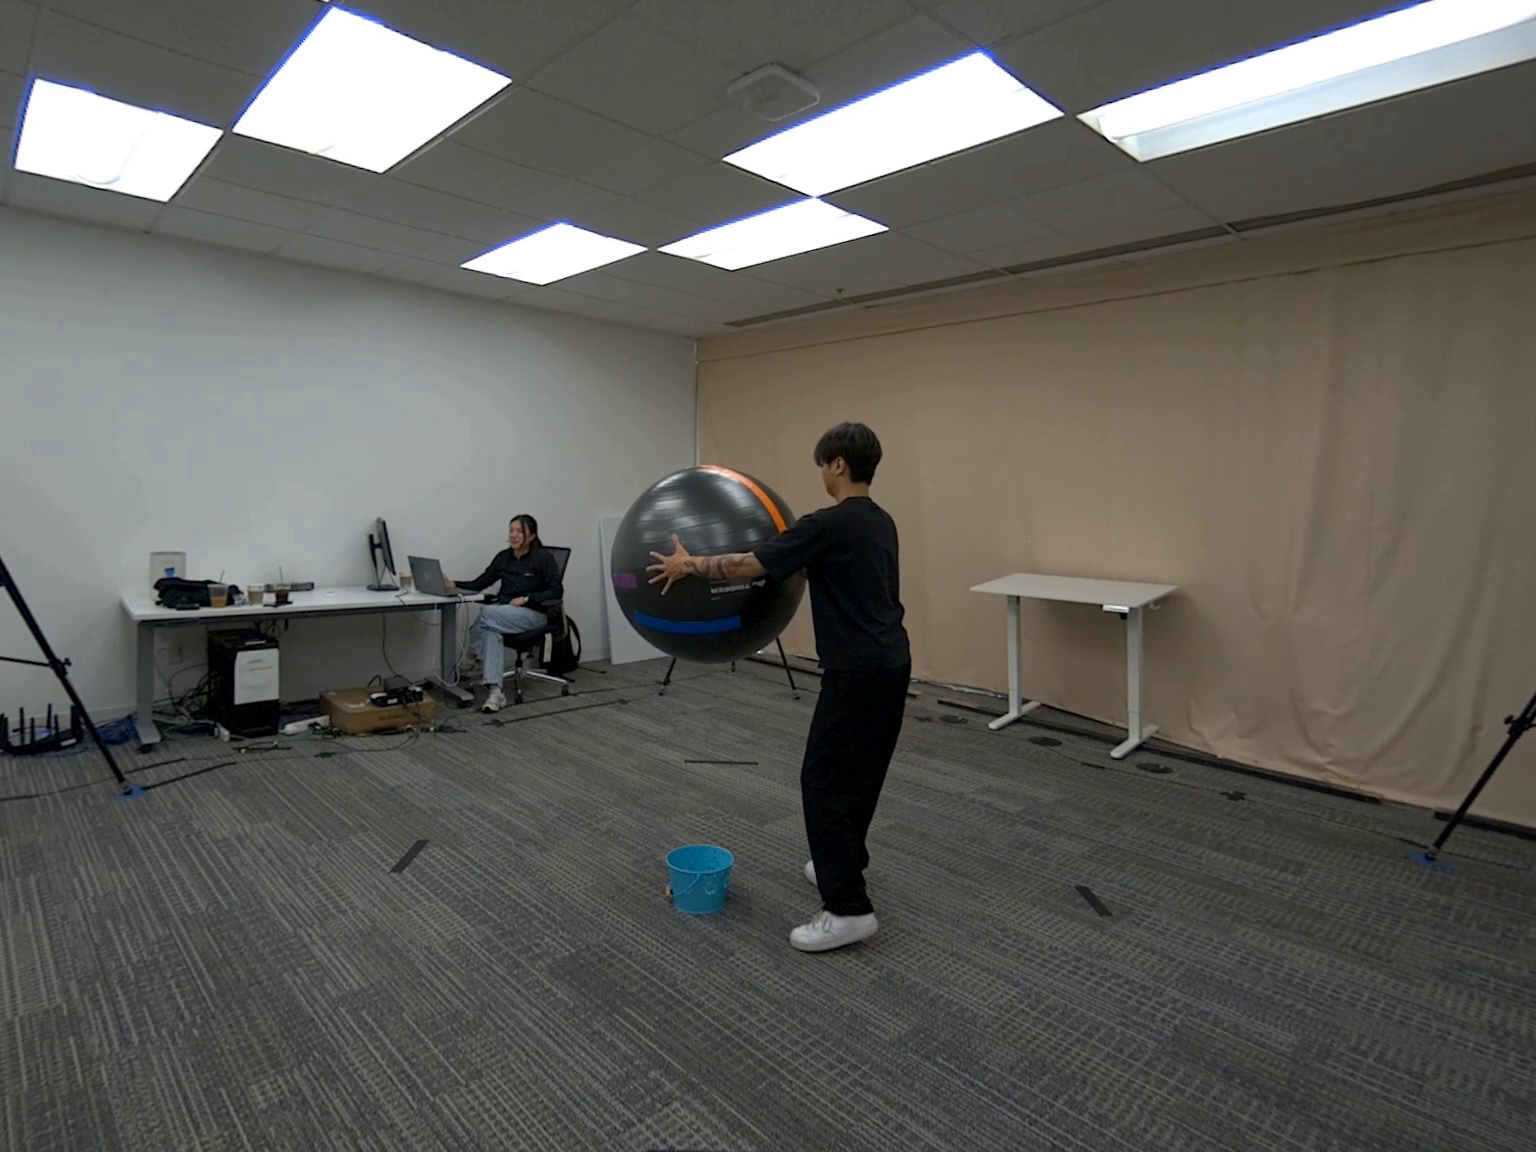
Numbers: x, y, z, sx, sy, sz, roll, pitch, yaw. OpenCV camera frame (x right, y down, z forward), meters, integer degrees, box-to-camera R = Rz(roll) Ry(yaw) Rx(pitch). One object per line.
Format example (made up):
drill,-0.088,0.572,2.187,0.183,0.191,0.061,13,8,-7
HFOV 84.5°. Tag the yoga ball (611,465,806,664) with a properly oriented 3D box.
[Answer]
yoga ball,-0.242,-0.039,3.275,0.757,0.756,0.761,1,4,-1
